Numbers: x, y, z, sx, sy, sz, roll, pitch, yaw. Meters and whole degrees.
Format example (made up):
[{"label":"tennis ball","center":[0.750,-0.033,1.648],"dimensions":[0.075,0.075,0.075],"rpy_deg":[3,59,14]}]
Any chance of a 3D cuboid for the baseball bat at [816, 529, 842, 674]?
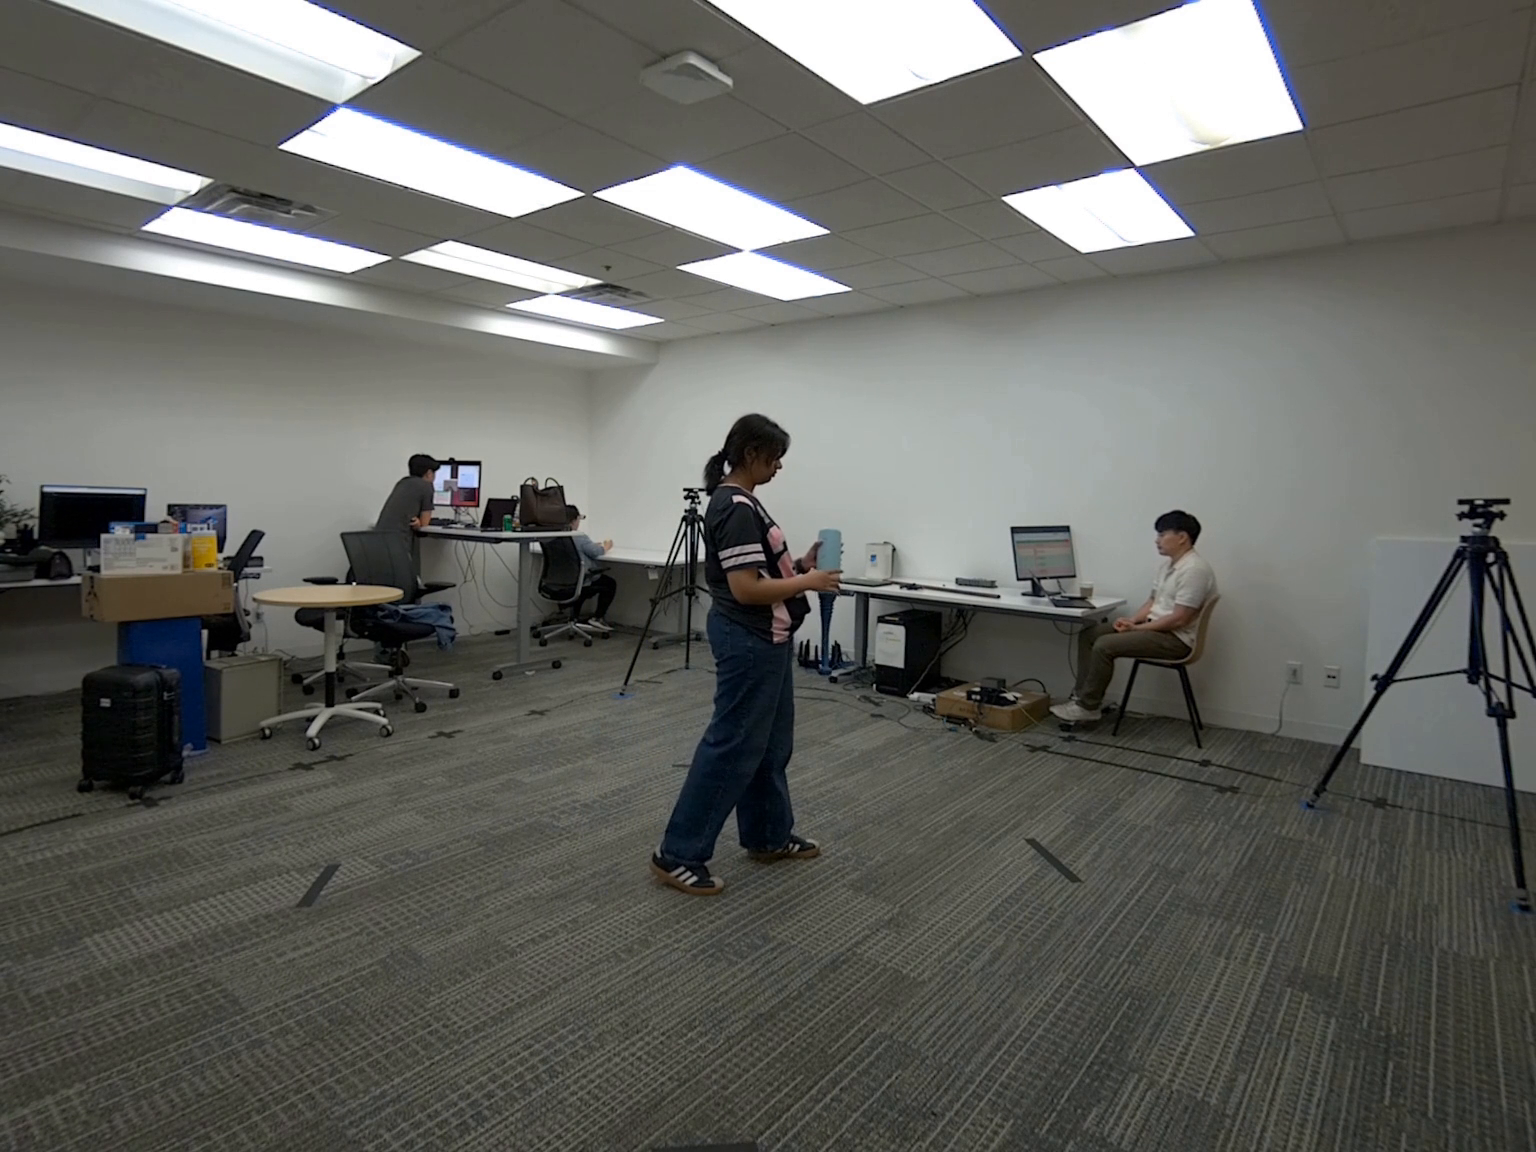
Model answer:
[{"label":"baseball bat","center":[0.221,0.089,3.111],"dimensions":[0.089,0.551,0.088],"rpy_deg":[3,-16,-1]}]
